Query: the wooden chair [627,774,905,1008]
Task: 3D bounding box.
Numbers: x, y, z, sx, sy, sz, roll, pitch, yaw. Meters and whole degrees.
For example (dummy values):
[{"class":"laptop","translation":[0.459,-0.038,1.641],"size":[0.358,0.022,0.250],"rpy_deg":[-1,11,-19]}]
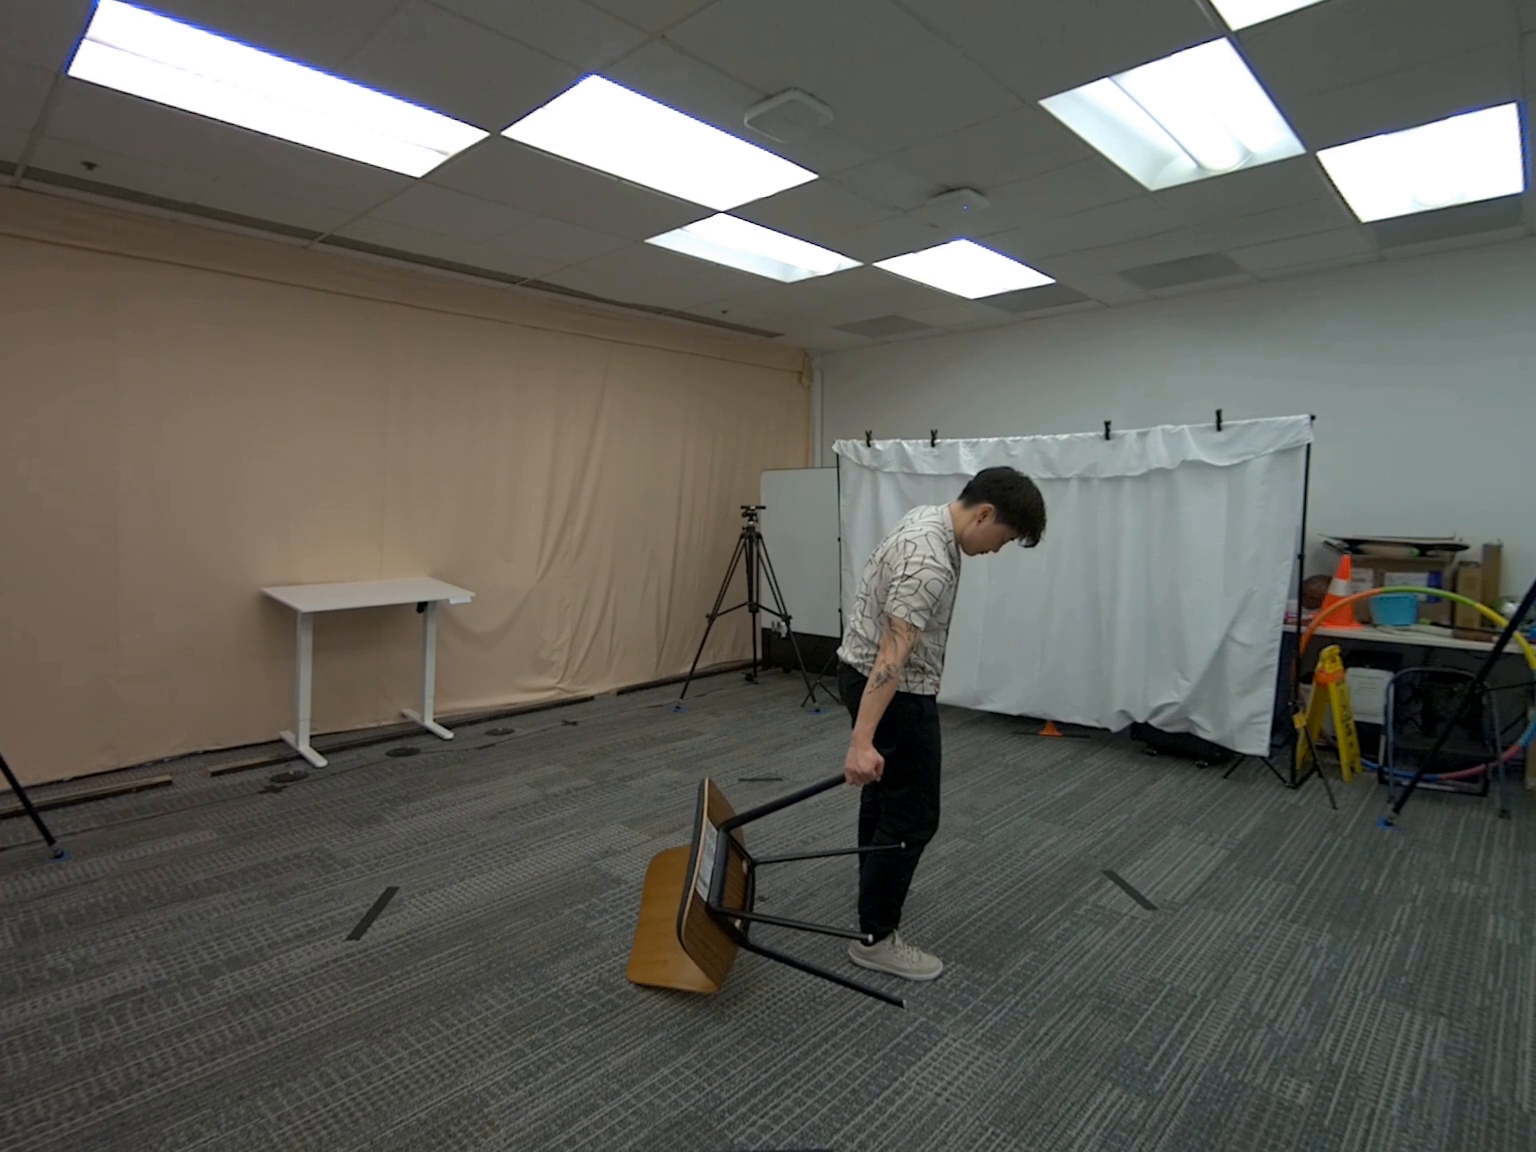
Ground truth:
[{"class":"wooden chair","translation":[-0.091,0.862,2.326],"size":[0.895,0.484,0.507],"rpy_deg":[-10,-46,22]}]
